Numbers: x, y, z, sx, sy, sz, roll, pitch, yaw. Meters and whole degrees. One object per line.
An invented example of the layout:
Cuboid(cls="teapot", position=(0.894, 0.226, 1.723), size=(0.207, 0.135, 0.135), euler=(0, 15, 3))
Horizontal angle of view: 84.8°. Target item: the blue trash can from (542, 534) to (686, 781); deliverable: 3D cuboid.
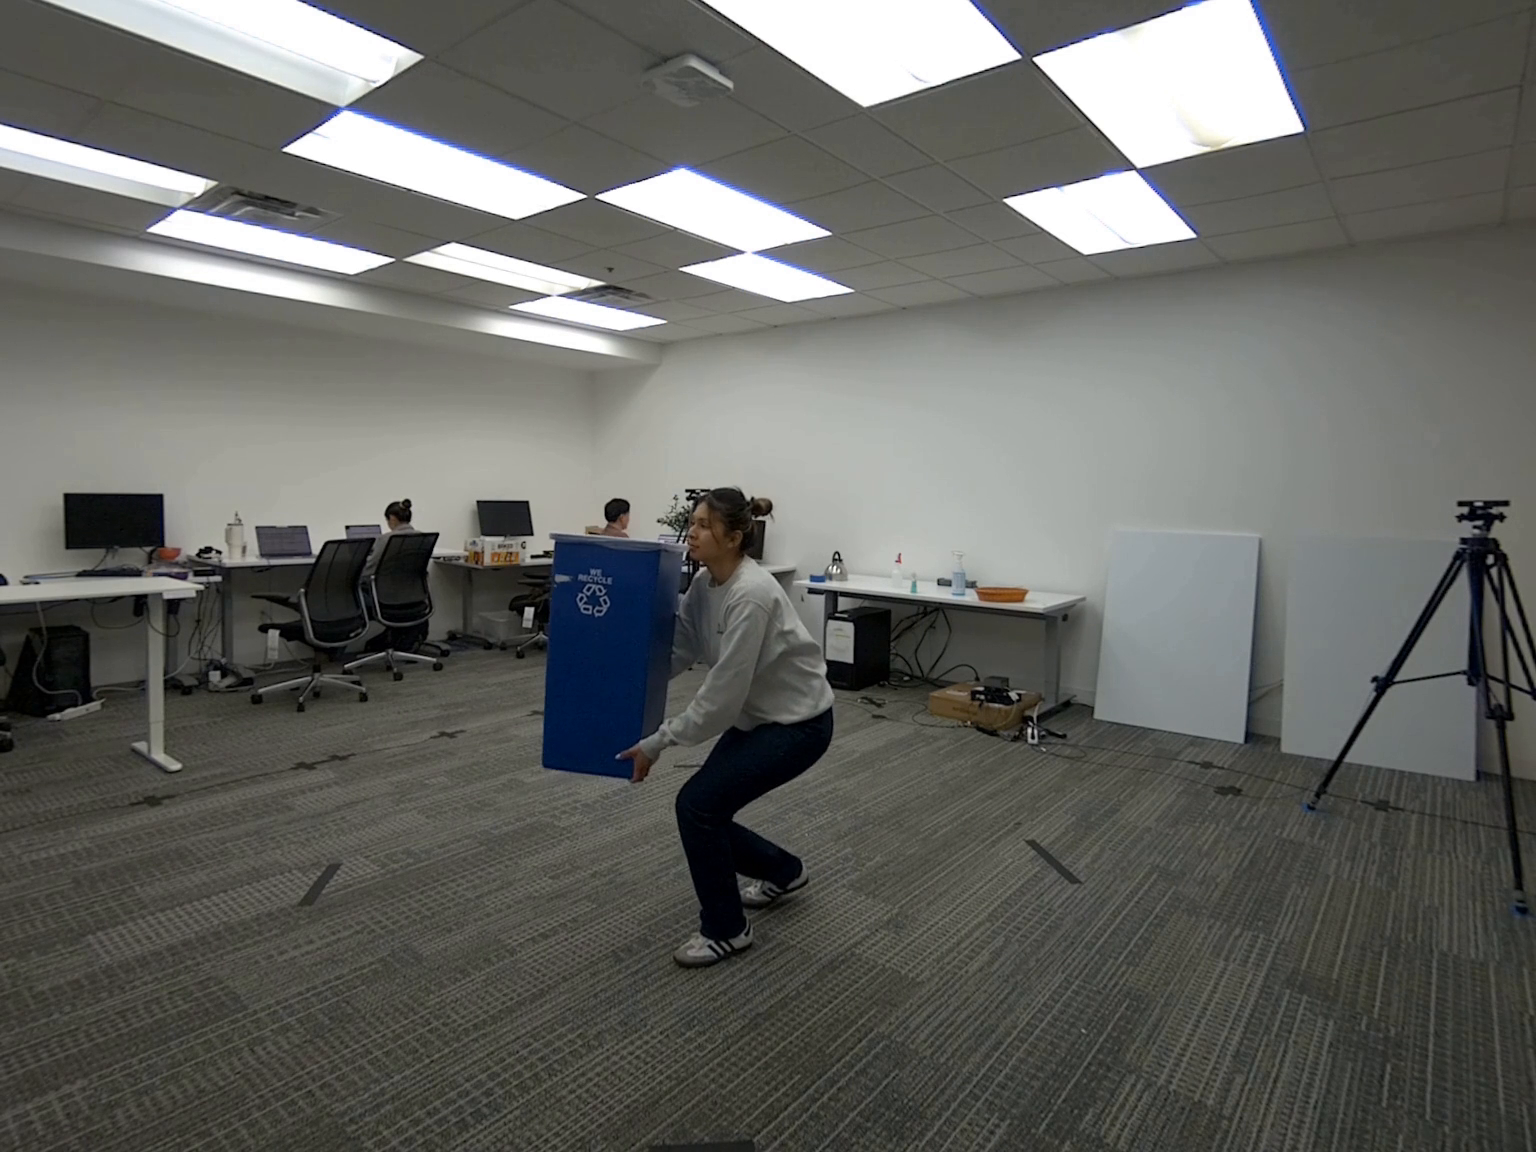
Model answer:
Cuboid(cls="blue trash can", position=(-0.499, 0.237, 2.702), size=(0.378, 0.714, 0.374), euler=(4, -1, 8))
